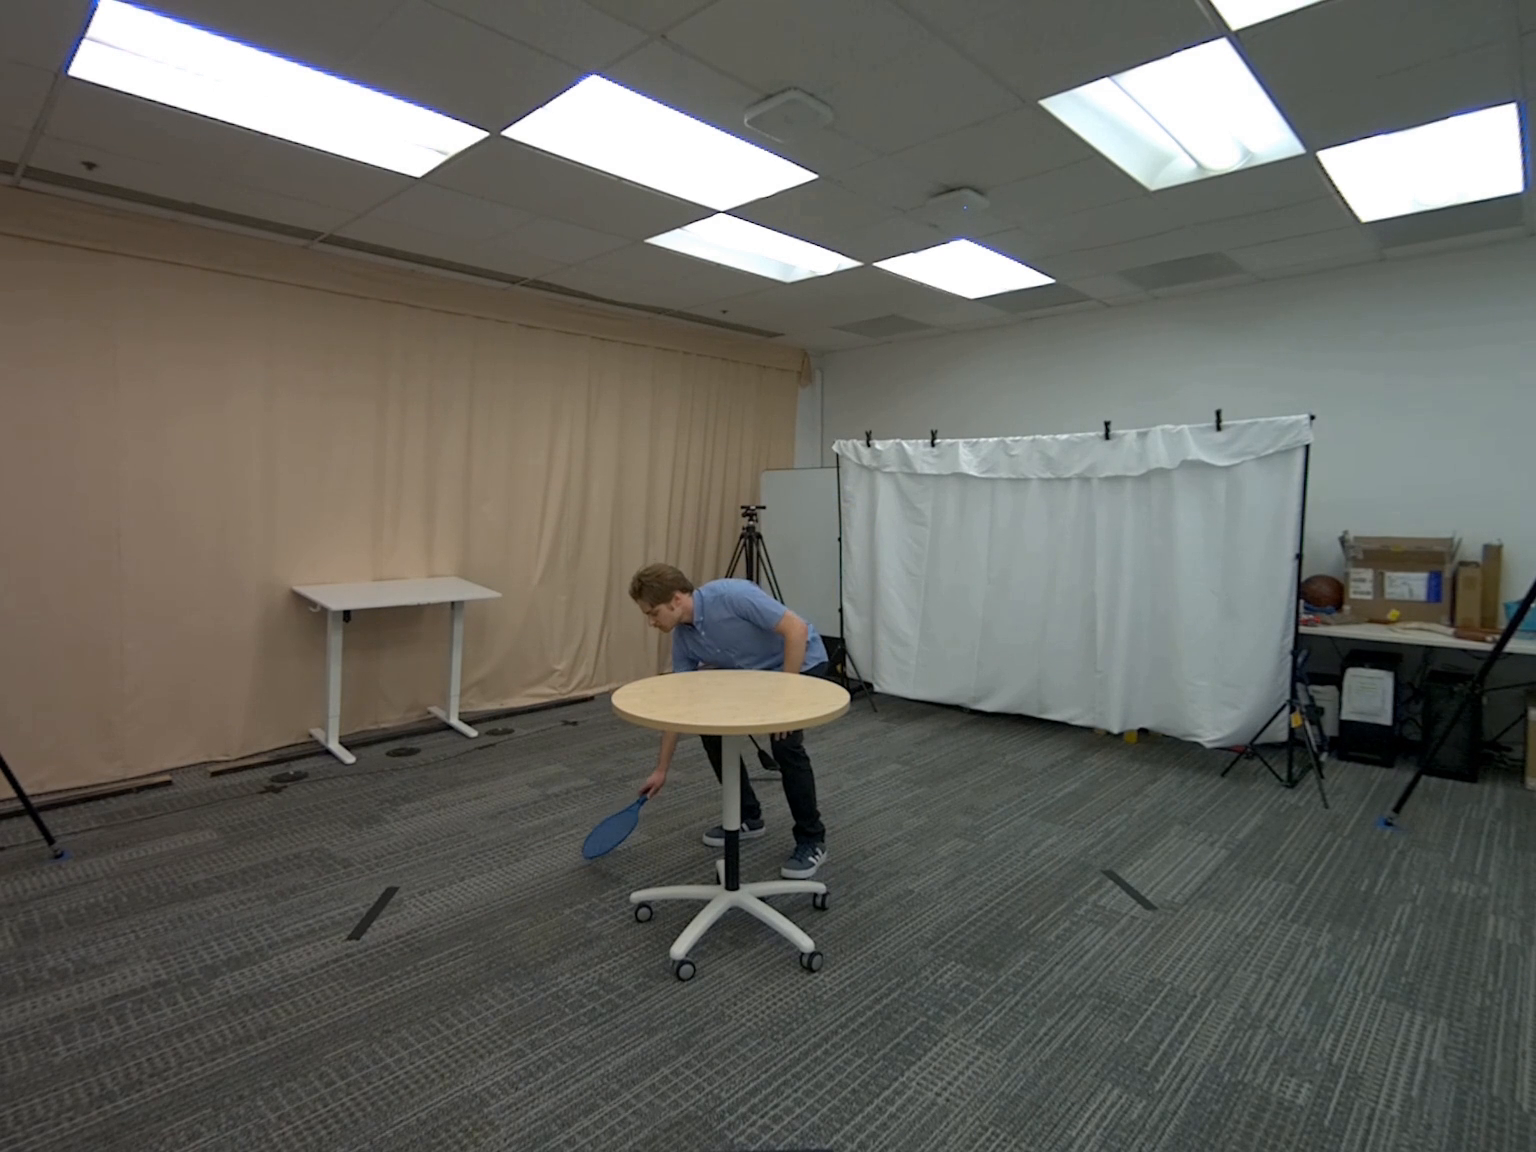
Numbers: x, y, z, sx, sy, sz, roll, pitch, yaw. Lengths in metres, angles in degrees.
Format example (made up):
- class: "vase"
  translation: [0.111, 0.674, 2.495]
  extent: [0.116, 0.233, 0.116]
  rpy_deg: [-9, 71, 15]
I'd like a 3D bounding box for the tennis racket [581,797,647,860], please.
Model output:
- class: "tennis racket"
  translation: [-0.560, 0.956, 3.312]
  extent: [0.220, 0.031, 0.427]
  rpy_deg: [-10, 22, 45]
